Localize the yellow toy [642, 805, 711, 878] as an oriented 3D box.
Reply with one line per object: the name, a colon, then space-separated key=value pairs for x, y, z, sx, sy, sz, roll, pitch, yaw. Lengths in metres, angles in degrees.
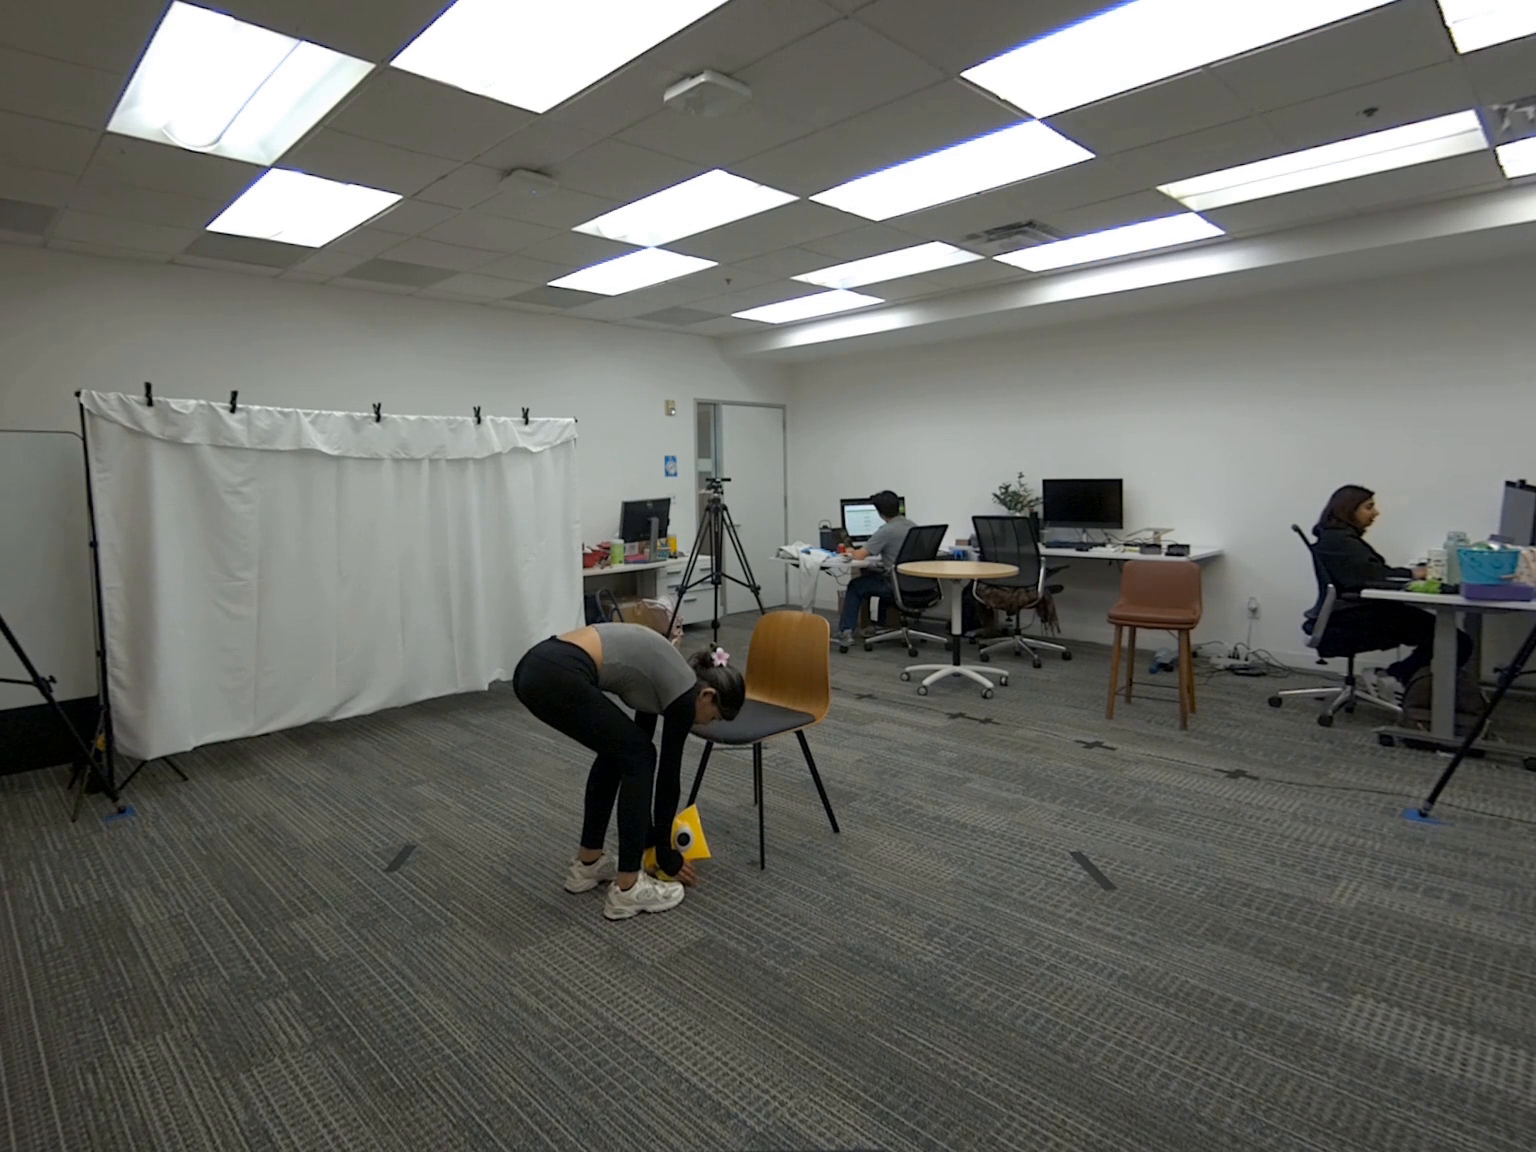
yellow toy: x=-0.320 y=0.919 z=3.005 sx=0.187 sy=0.231 sz=0.211 roll=12 pitch=-2 yaw=-39
